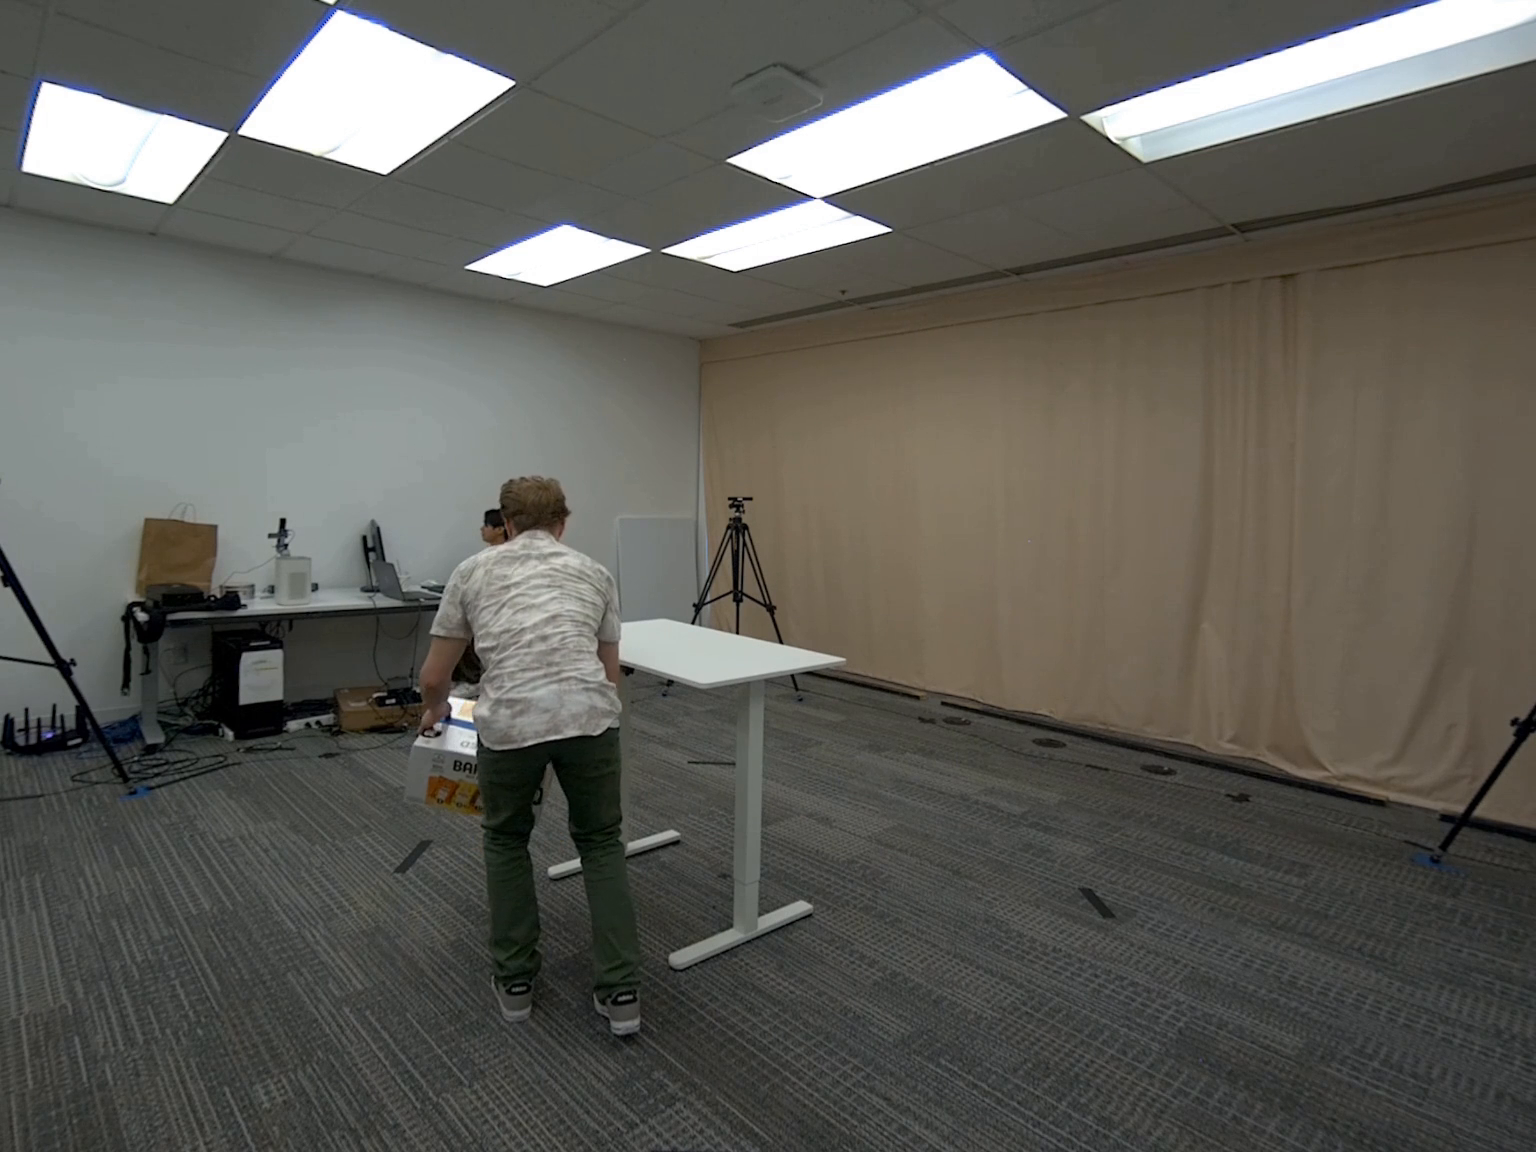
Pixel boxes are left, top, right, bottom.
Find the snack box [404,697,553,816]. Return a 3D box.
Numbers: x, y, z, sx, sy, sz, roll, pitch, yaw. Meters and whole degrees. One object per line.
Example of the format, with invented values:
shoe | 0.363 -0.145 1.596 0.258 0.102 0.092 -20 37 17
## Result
snack box | -0.887 0.590 2.679 0.403 0.204 0.344 10 14 -5
